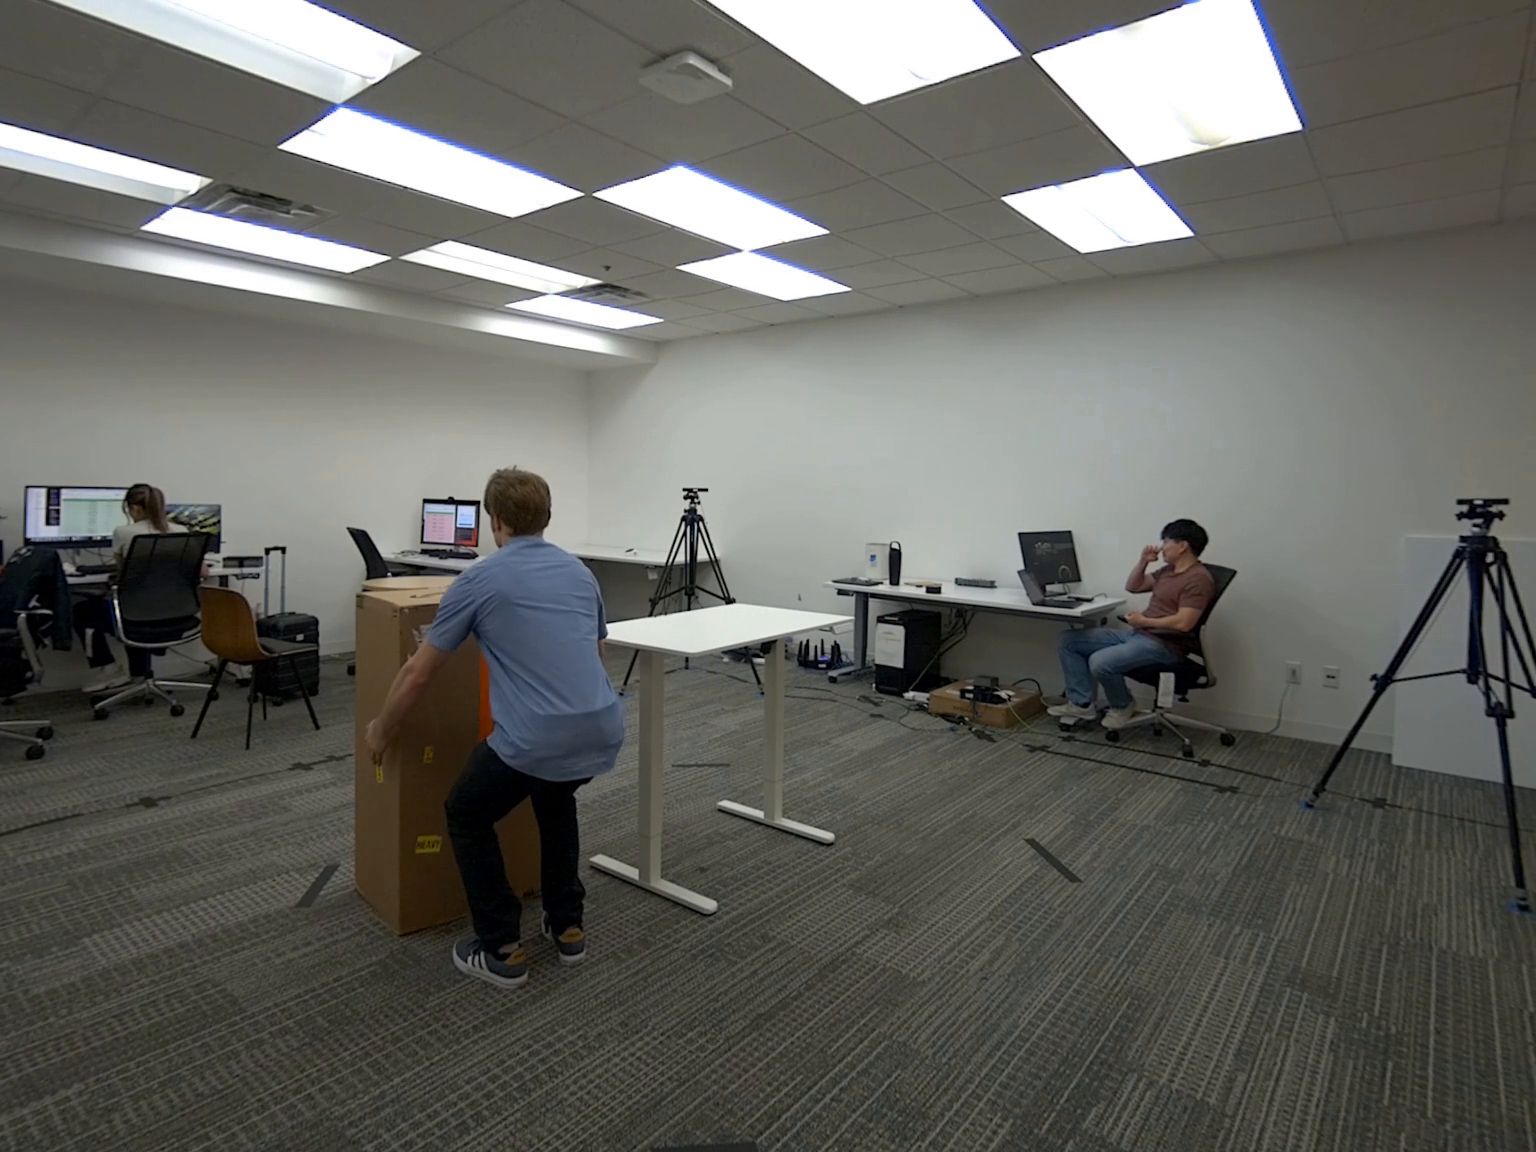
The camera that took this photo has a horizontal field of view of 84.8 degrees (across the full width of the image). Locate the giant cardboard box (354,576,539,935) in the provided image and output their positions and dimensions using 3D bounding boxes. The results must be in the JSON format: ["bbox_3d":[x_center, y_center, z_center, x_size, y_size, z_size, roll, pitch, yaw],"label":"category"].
[{"bbox_3d":[-1.074,0.565,2.926,0.560,1.023,0.441,-2,4,-42],"label":"giant cardboard box"}]
